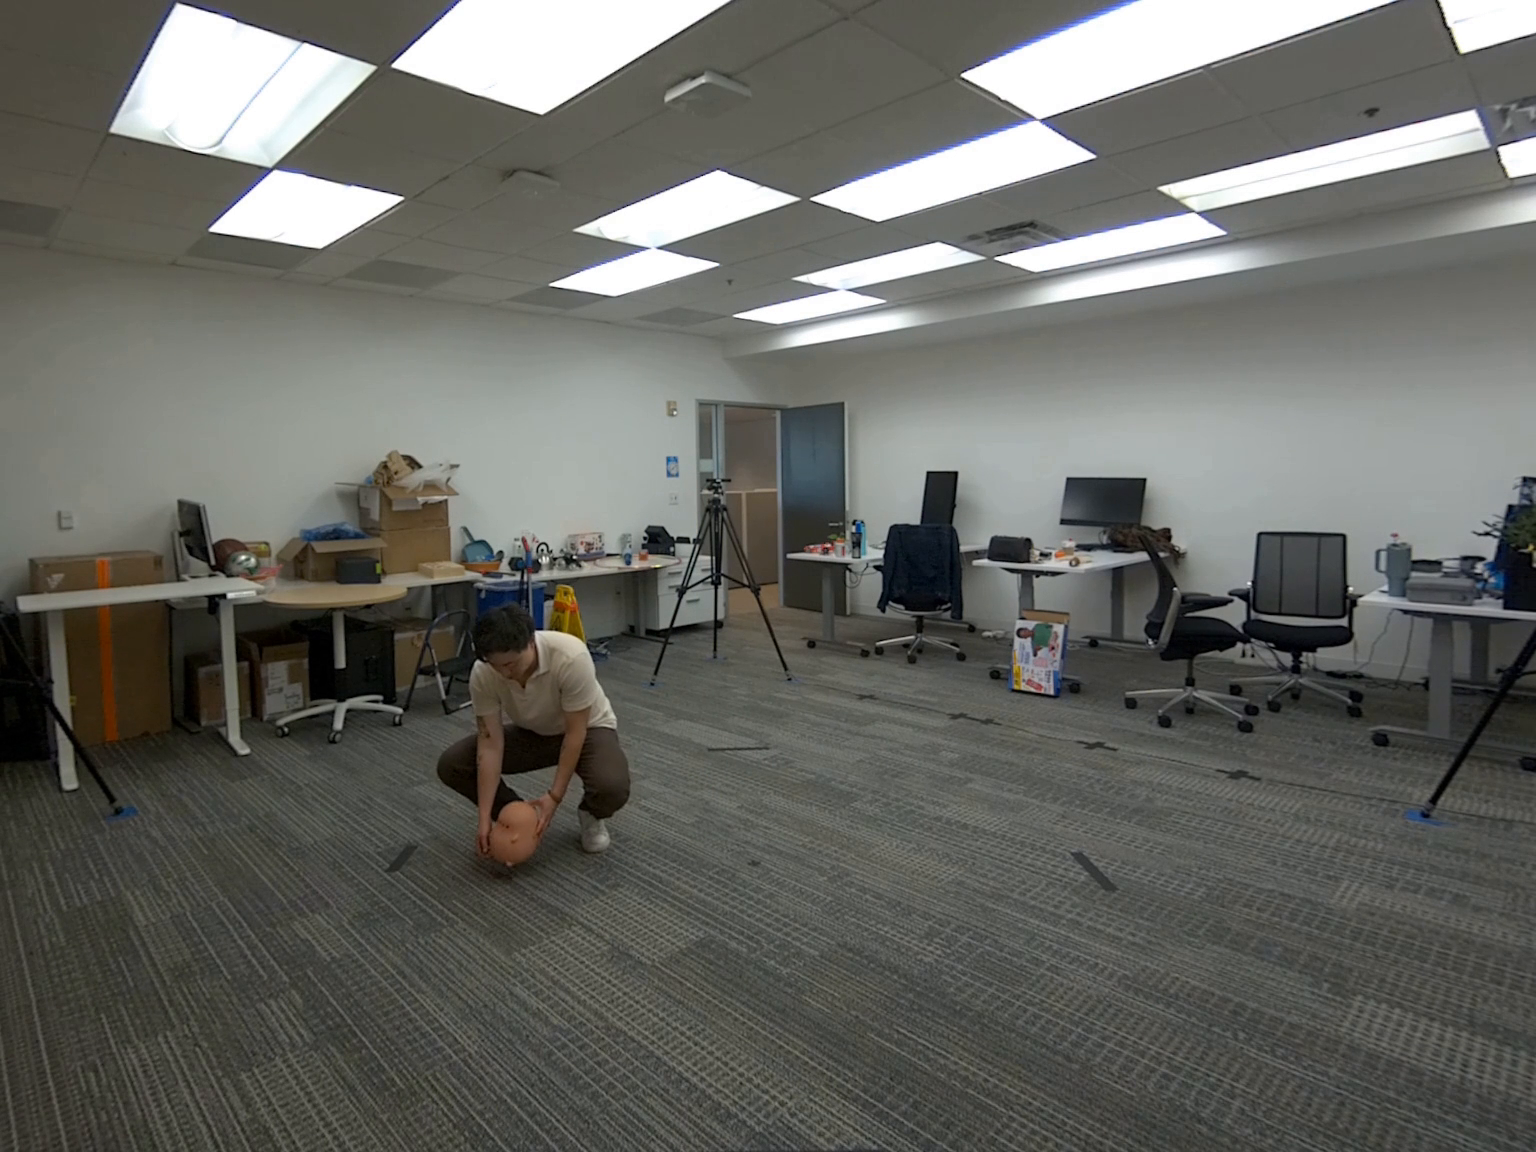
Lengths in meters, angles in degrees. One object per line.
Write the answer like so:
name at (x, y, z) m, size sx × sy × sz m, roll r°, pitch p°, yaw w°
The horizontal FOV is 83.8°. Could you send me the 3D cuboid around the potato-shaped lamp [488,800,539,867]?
potato-shaped lamp at (-0.899, 0.909, 3.040) m, size 0.170 × 0.196 × 0.167 m, roll 13°, pitch 13°, yaw 37°
